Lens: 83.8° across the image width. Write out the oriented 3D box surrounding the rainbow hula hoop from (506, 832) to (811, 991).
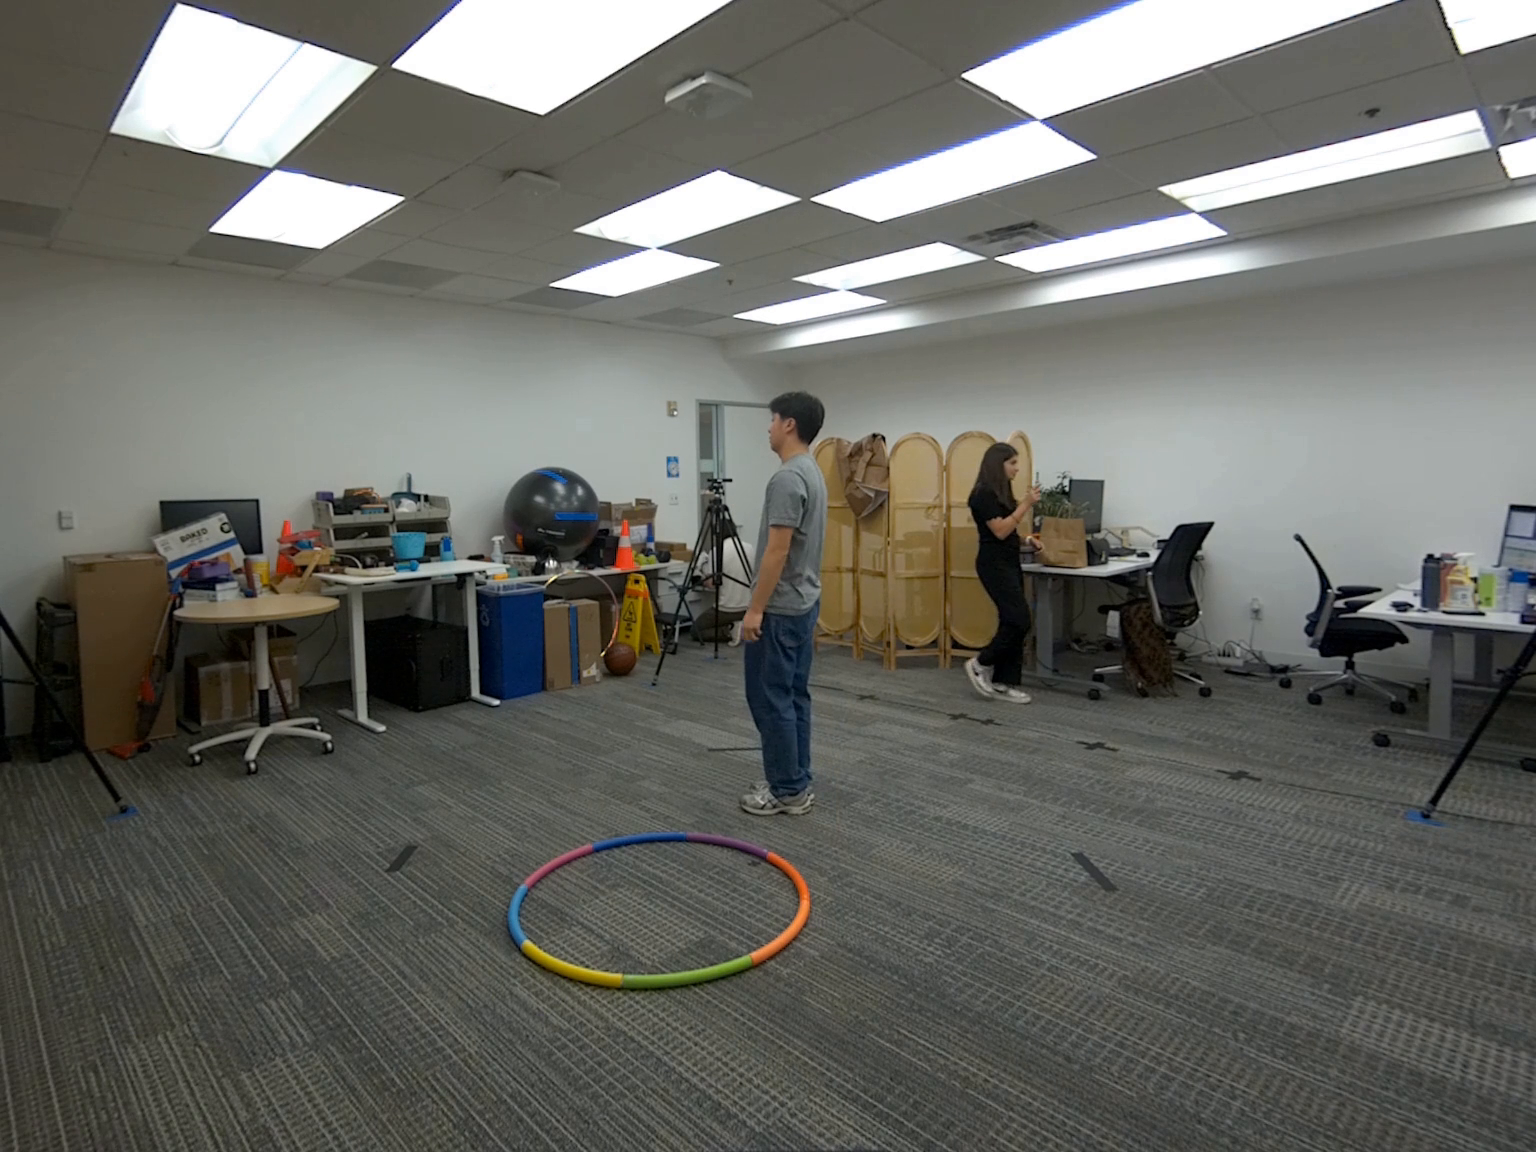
[{"bbox_3d":[-0.352,1.054,2.840,0.978,0.035,0.984,-1,6,-2],"label":"rainbow hula hoop"}]
